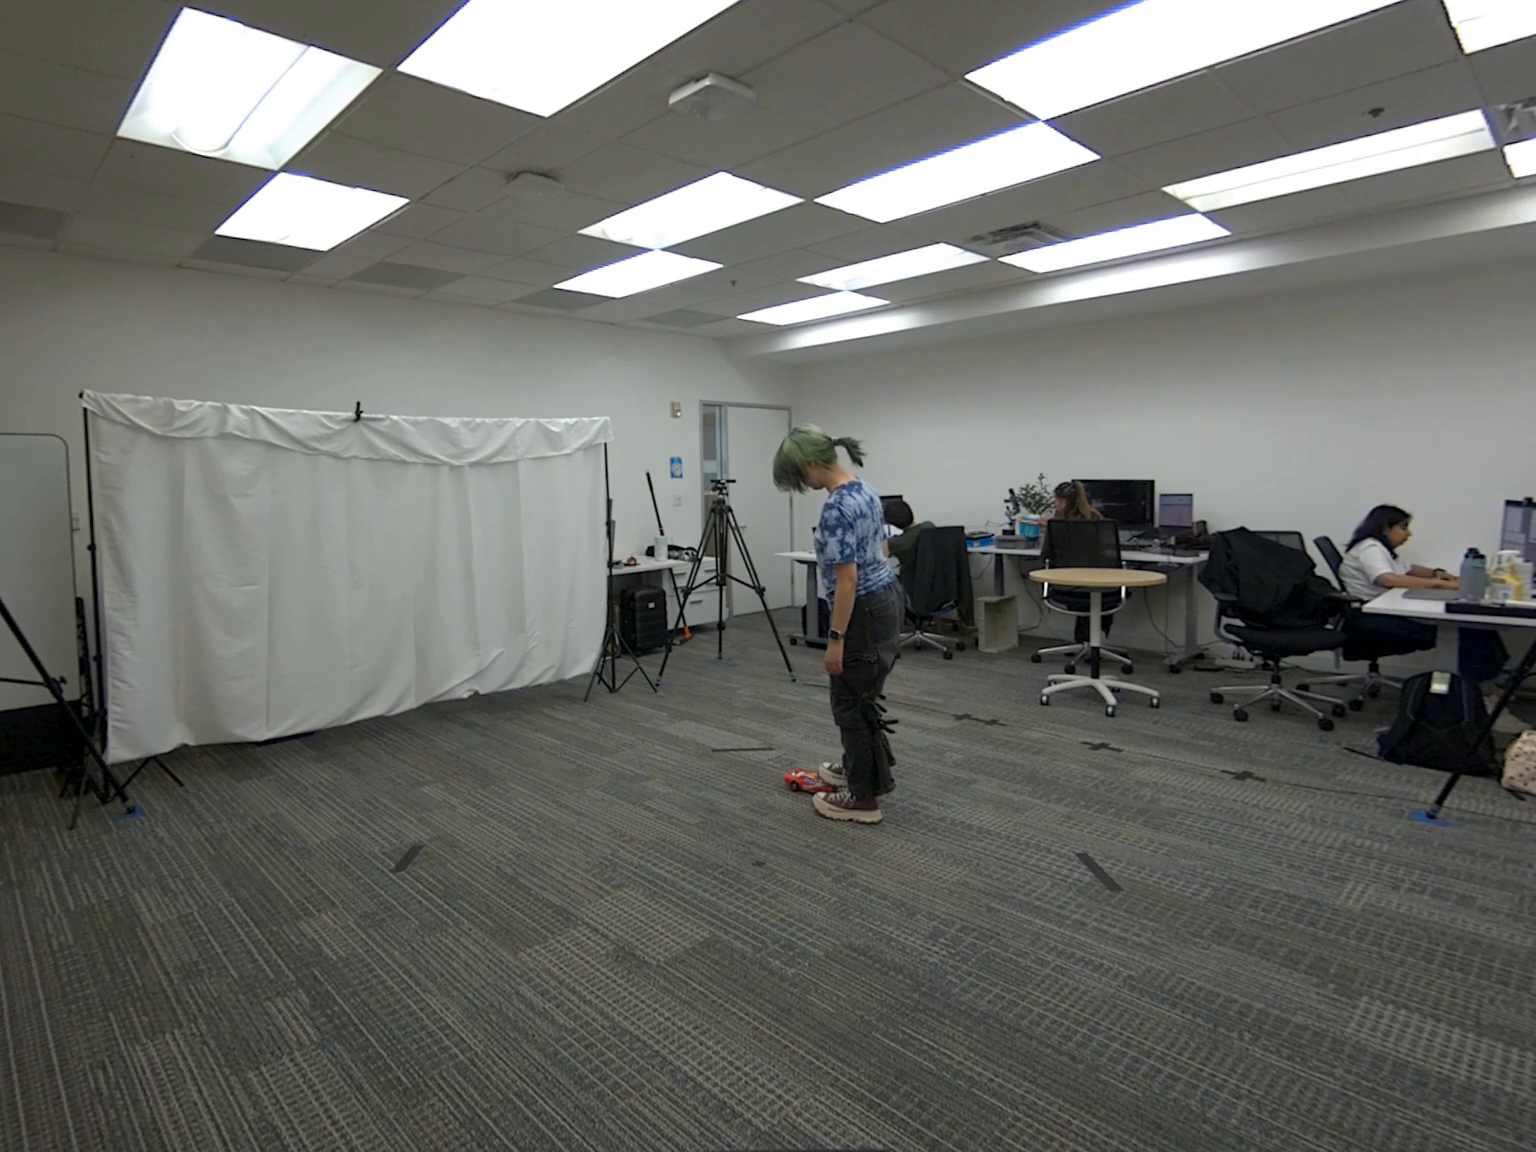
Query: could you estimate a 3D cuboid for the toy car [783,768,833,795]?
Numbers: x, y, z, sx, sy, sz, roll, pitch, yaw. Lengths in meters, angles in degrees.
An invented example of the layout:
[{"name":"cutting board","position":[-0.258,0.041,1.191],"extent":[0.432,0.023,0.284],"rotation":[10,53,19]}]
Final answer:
[{"name":"toy car","position":[0.184,0.933,3.836],"extent":[0.263,0.082,0.127],"rotation":[19,16,33]}]
